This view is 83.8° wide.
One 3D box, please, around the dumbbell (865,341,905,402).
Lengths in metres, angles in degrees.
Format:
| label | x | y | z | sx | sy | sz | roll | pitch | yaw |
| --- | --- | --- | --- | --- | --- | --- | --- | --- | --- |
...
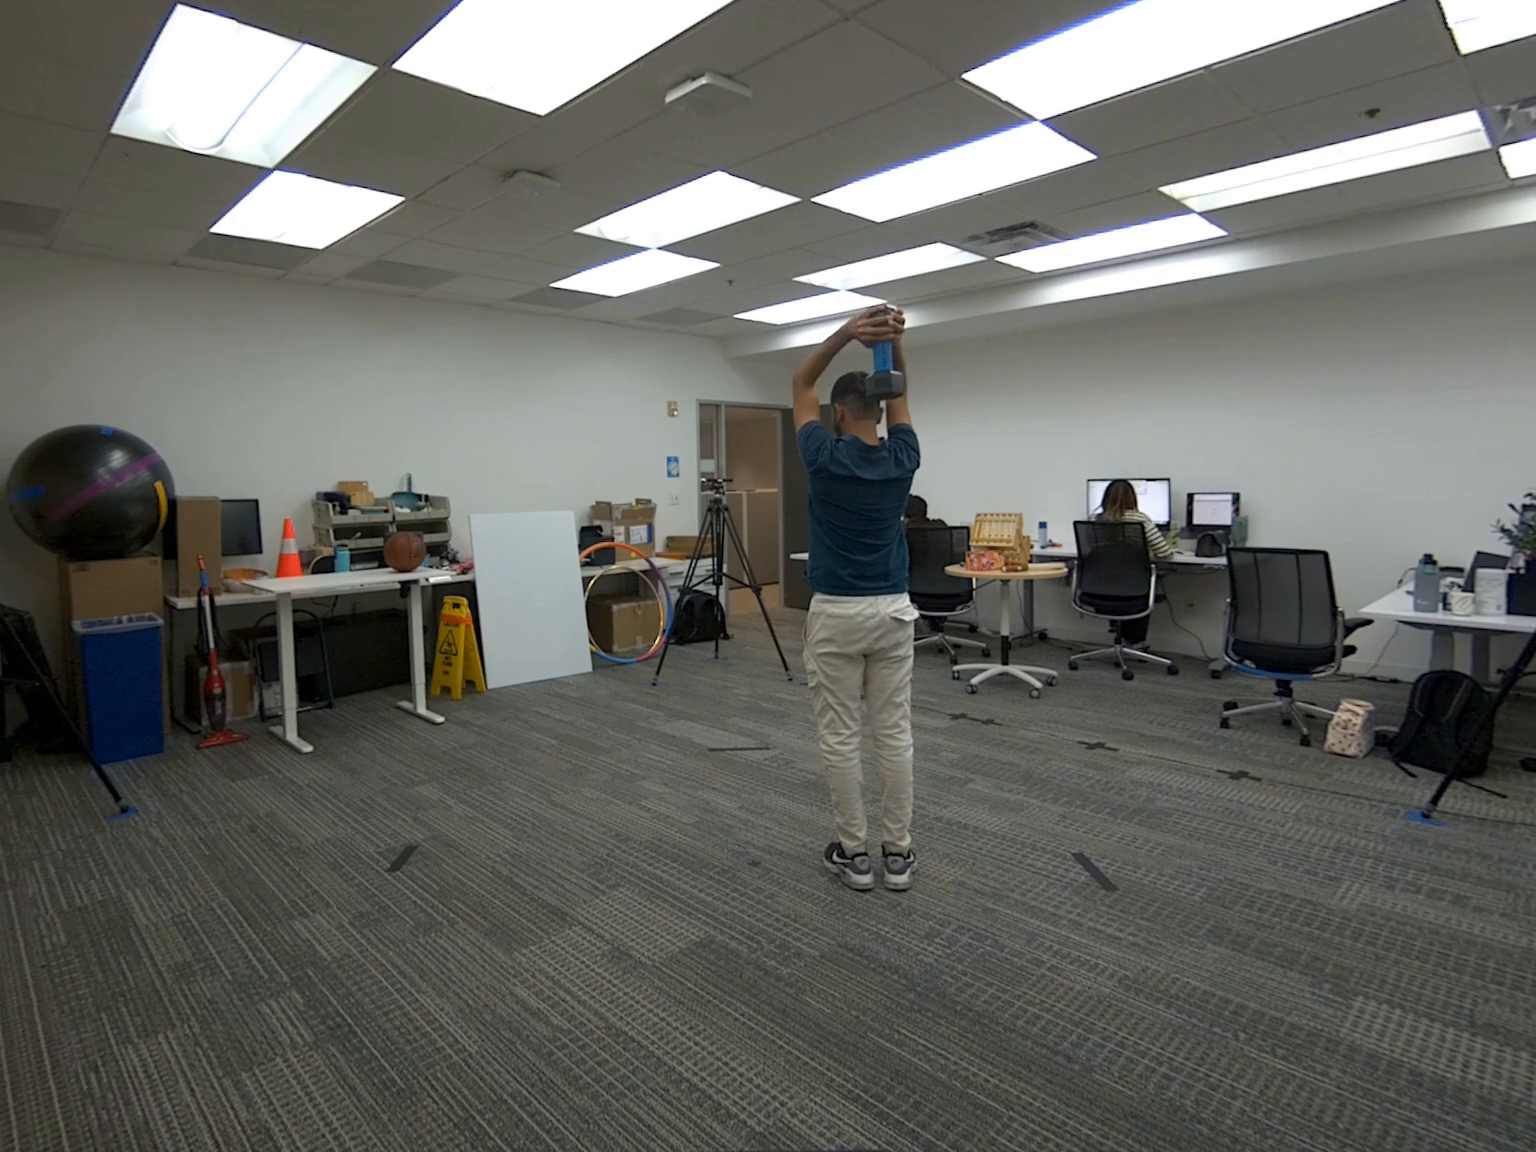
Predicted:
| label | x | y | z | sx | sy | sz | roll | pitch | yaw |
| --- | --- | --- | --- | --- | --- | --- | --- | --- | --- |
| dumbbell | 0.382 | -0.718 | 2.764 | 0.107 | 0.295 | 0.124 | 1 | -6 | -14 |
